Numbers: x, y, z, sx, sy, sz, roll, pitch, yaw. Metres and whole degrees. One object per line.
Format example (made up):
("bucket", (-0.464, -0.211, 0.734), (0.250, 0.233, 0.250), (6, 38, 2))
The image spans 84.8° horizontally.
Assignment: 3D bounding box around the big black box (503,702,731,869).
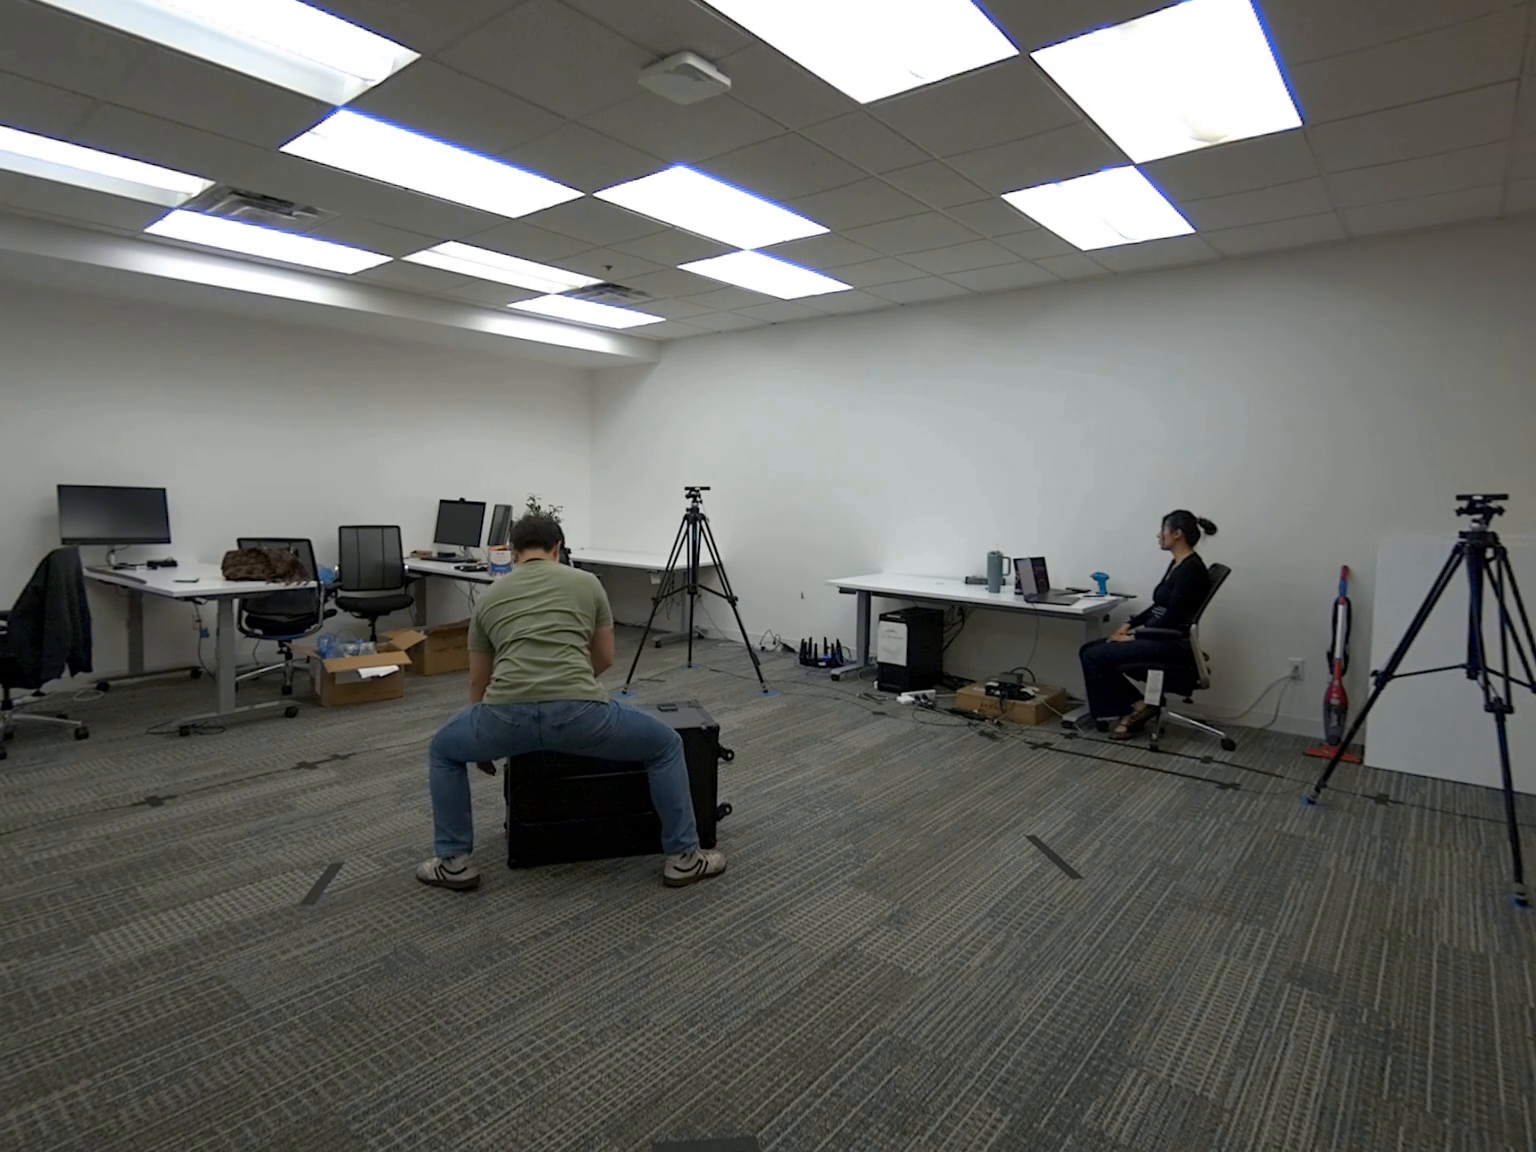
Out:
("big black box", (-0.593, 0.779, 3.320), (0.847, 0.518, 0.405), (-1, 6, -17))
